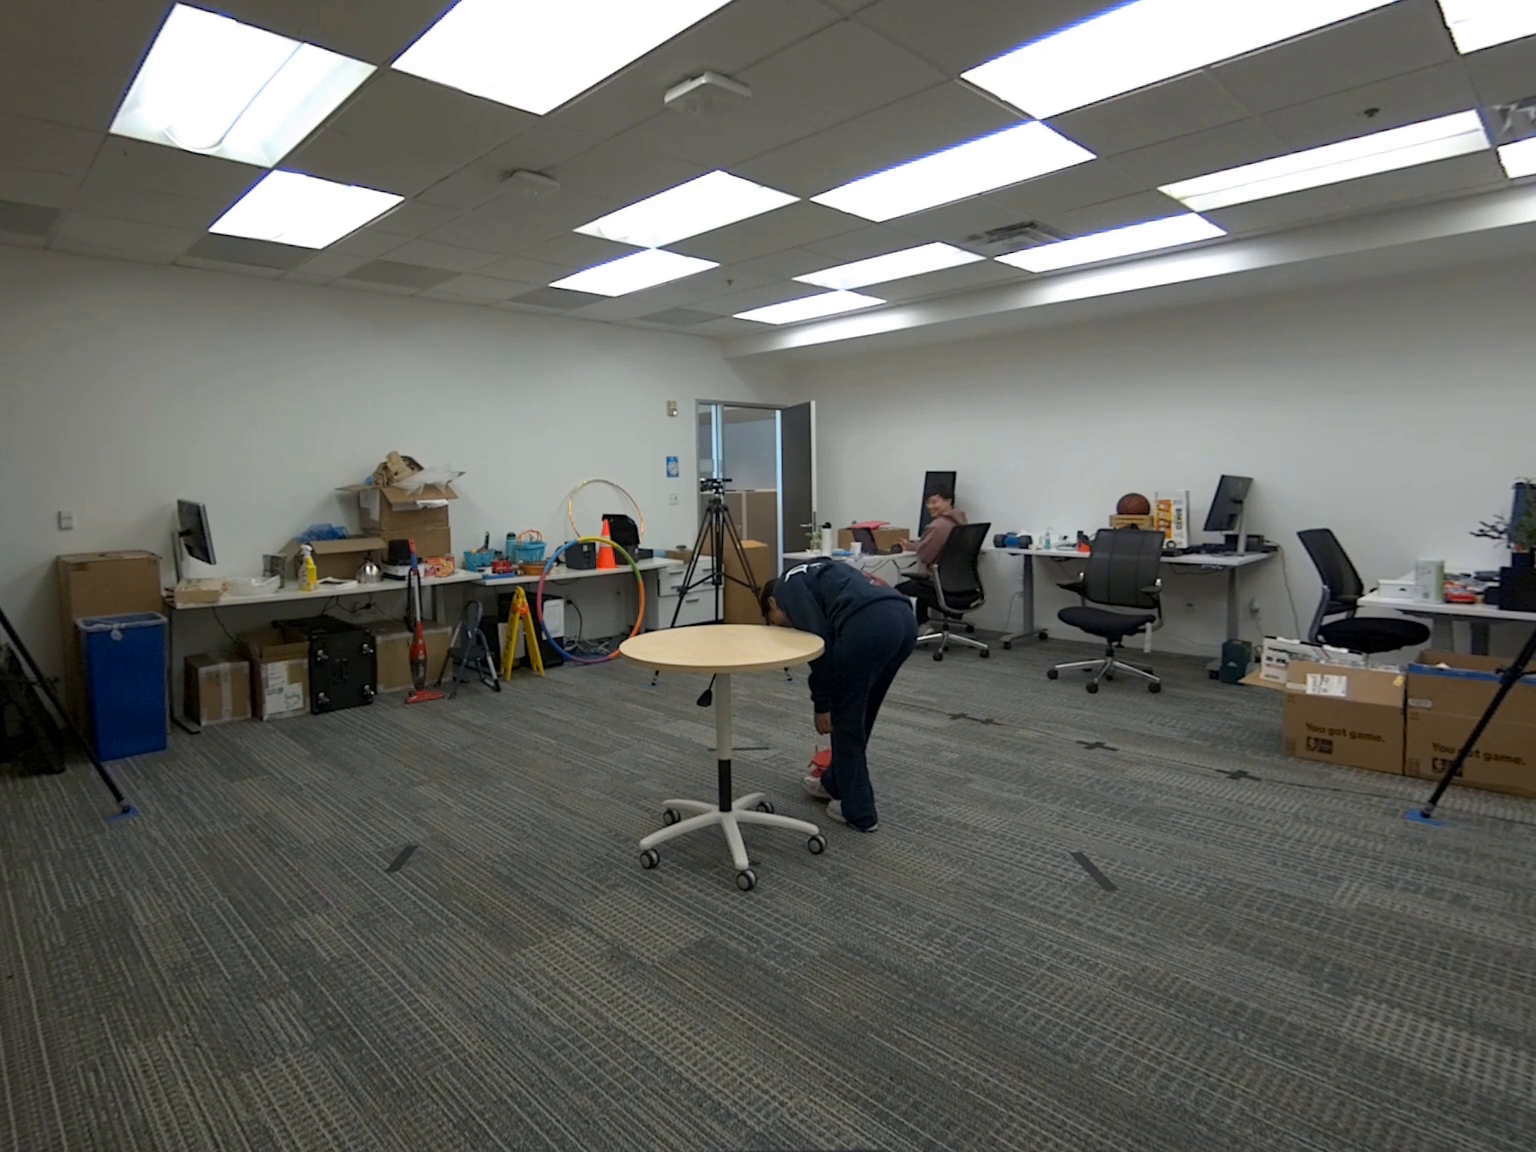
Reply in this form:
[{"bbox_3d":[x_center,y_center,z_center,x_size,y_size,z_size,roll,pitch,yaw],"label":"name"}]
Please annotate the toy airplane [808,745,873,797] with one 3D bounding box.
[{"bbox_3d":[0.330,0.880,3.875,0.262,0.156,0.249,-2,5,11],"label":"toy airplane"}]
